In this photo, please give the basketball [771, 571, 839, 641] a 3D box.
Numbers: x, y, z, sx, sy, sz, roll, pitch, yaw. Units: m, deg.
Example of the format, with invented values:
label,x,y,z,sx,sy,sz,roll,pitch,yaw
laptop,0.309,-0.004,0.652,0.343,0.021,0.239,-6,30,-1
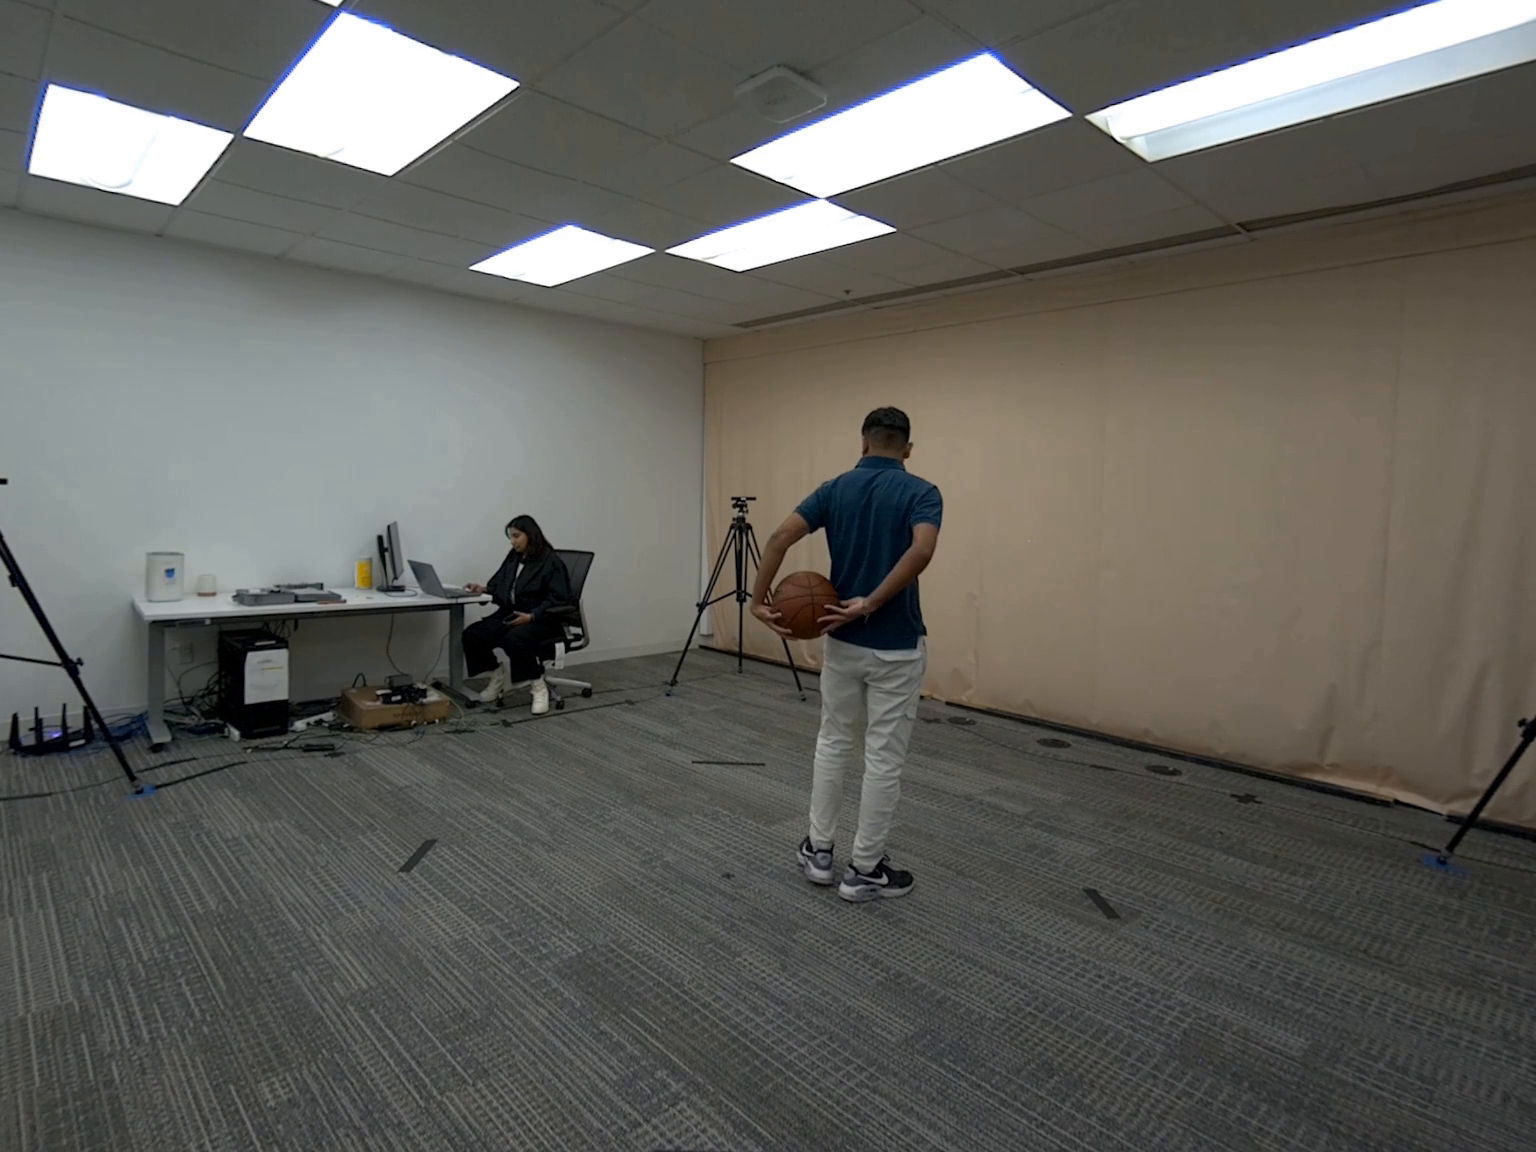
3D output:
label,x,y,z,sx,sy,sz,roll,pitch,yaw
basketball,0.119,0.094,2.929,0.236,0.235,0.237,1,4,-1
